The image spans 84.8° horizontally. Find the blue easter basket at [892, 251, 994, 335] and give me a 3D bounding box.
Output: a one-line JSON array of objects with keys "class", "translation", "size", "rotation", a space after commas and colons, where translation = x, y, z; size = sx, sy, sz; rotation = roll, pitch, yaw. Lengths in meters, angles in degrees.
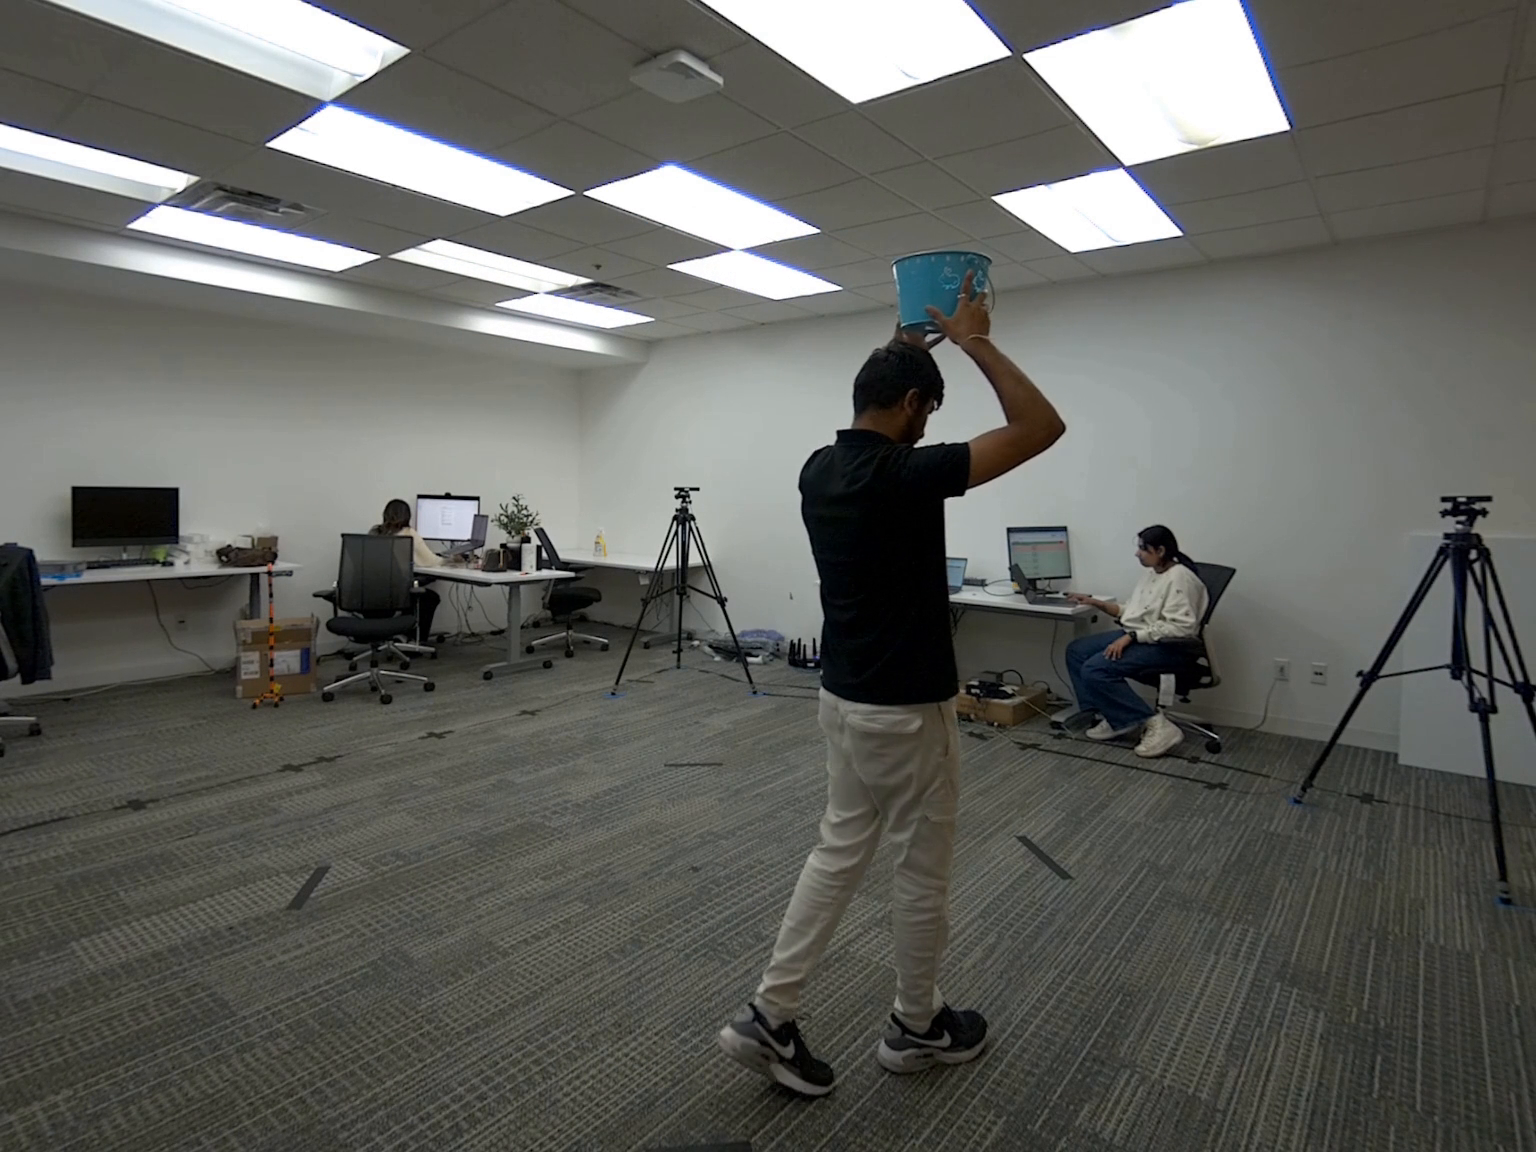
[{"class": "blue easter basket", "translation": [0.408, -0.674, 2.025], "size": [0.243, 0.155, 0.245], "rotation": [2, 7, -2]}]
